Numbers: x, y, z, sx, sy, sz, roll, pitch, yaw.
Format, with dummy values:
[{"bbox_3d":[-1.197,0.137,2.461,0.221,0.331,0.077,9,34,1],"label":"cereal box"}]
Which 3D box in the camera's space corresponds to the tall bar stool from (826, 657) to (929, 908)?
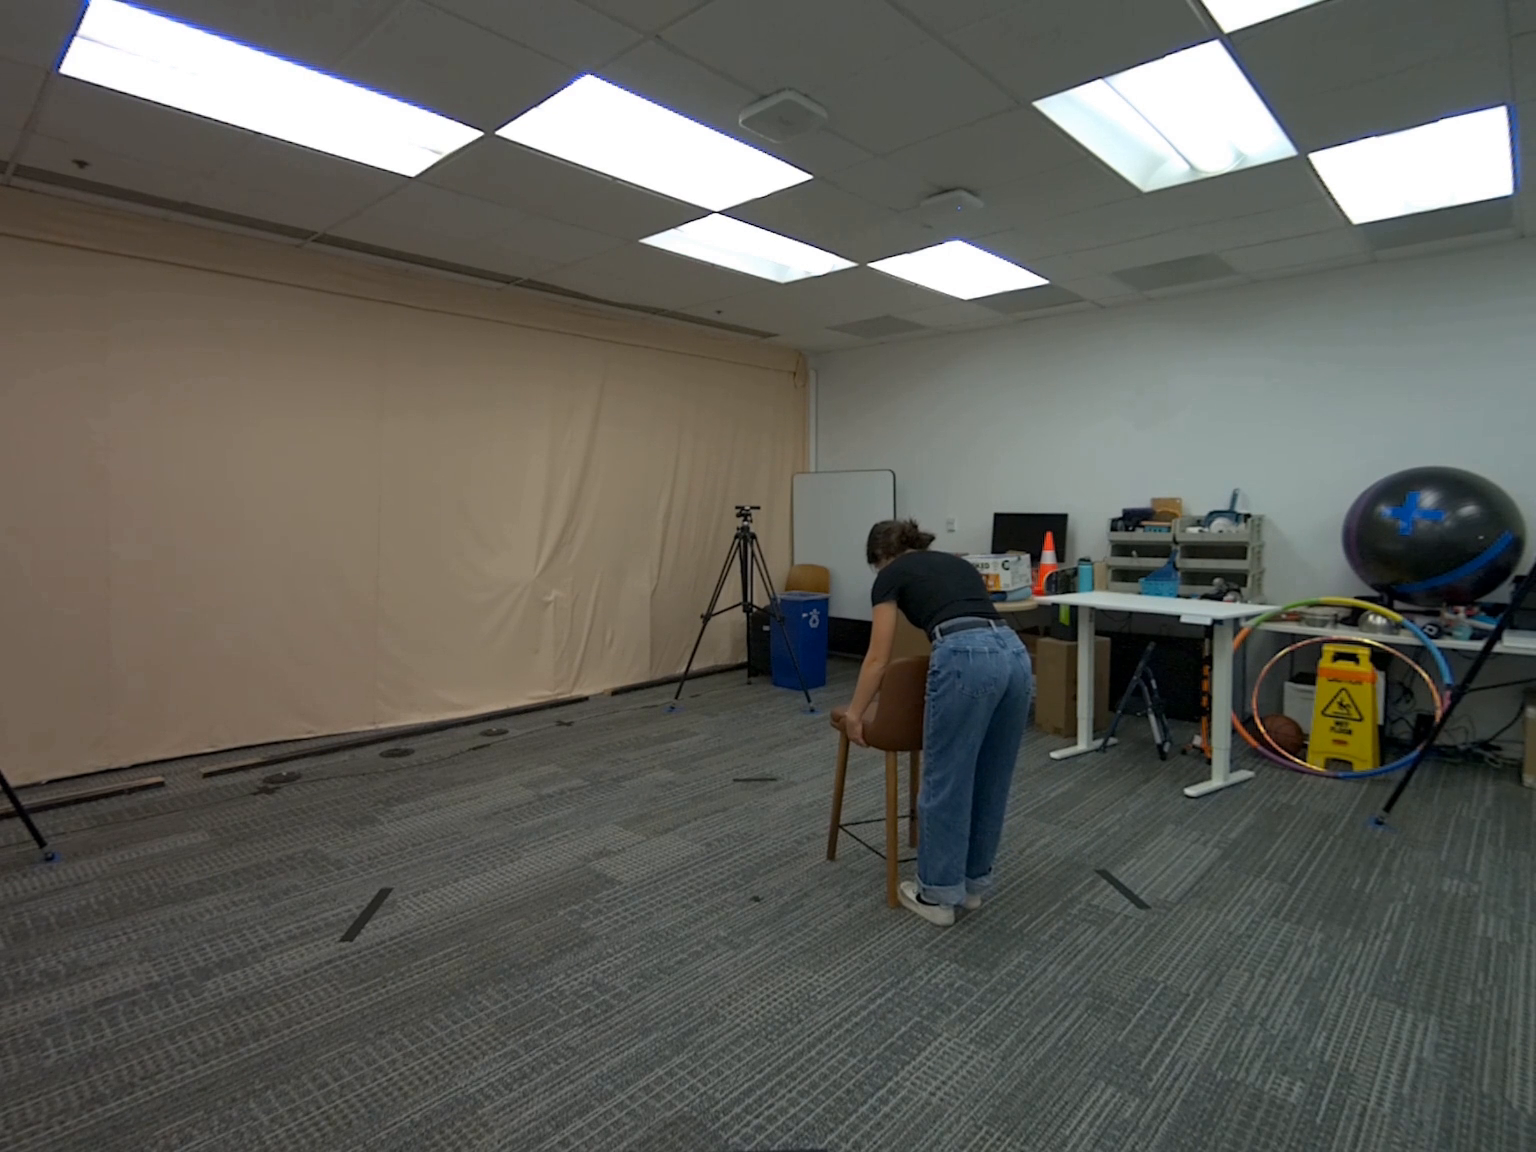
[{"bbox_3d":[0.512,0.687,3.160,0.446,0.887,0.479,-1,5,-23],"label":"tall bar stool"}]
